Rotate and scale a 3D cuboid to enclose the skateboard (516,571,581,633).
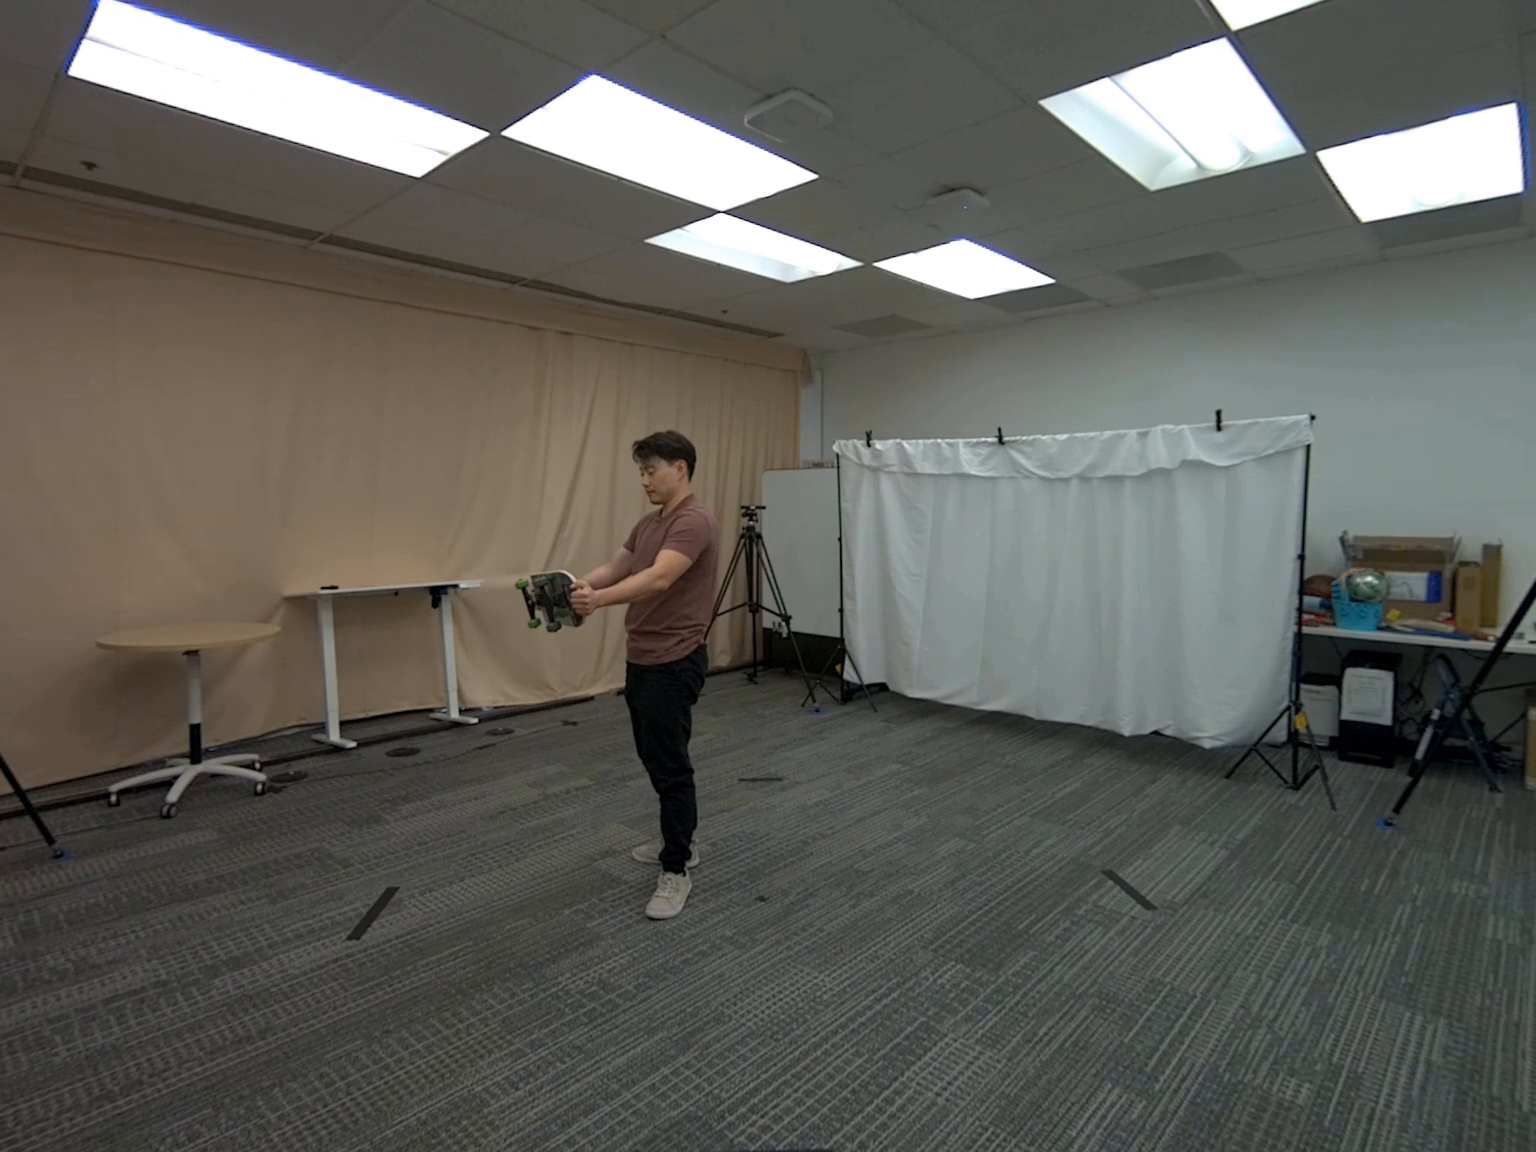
[{"bbox_3d":[-0.778,0.096,2.959,0.108,0.192,0.802,-21,7,-23],"label":"skateboard"}]
